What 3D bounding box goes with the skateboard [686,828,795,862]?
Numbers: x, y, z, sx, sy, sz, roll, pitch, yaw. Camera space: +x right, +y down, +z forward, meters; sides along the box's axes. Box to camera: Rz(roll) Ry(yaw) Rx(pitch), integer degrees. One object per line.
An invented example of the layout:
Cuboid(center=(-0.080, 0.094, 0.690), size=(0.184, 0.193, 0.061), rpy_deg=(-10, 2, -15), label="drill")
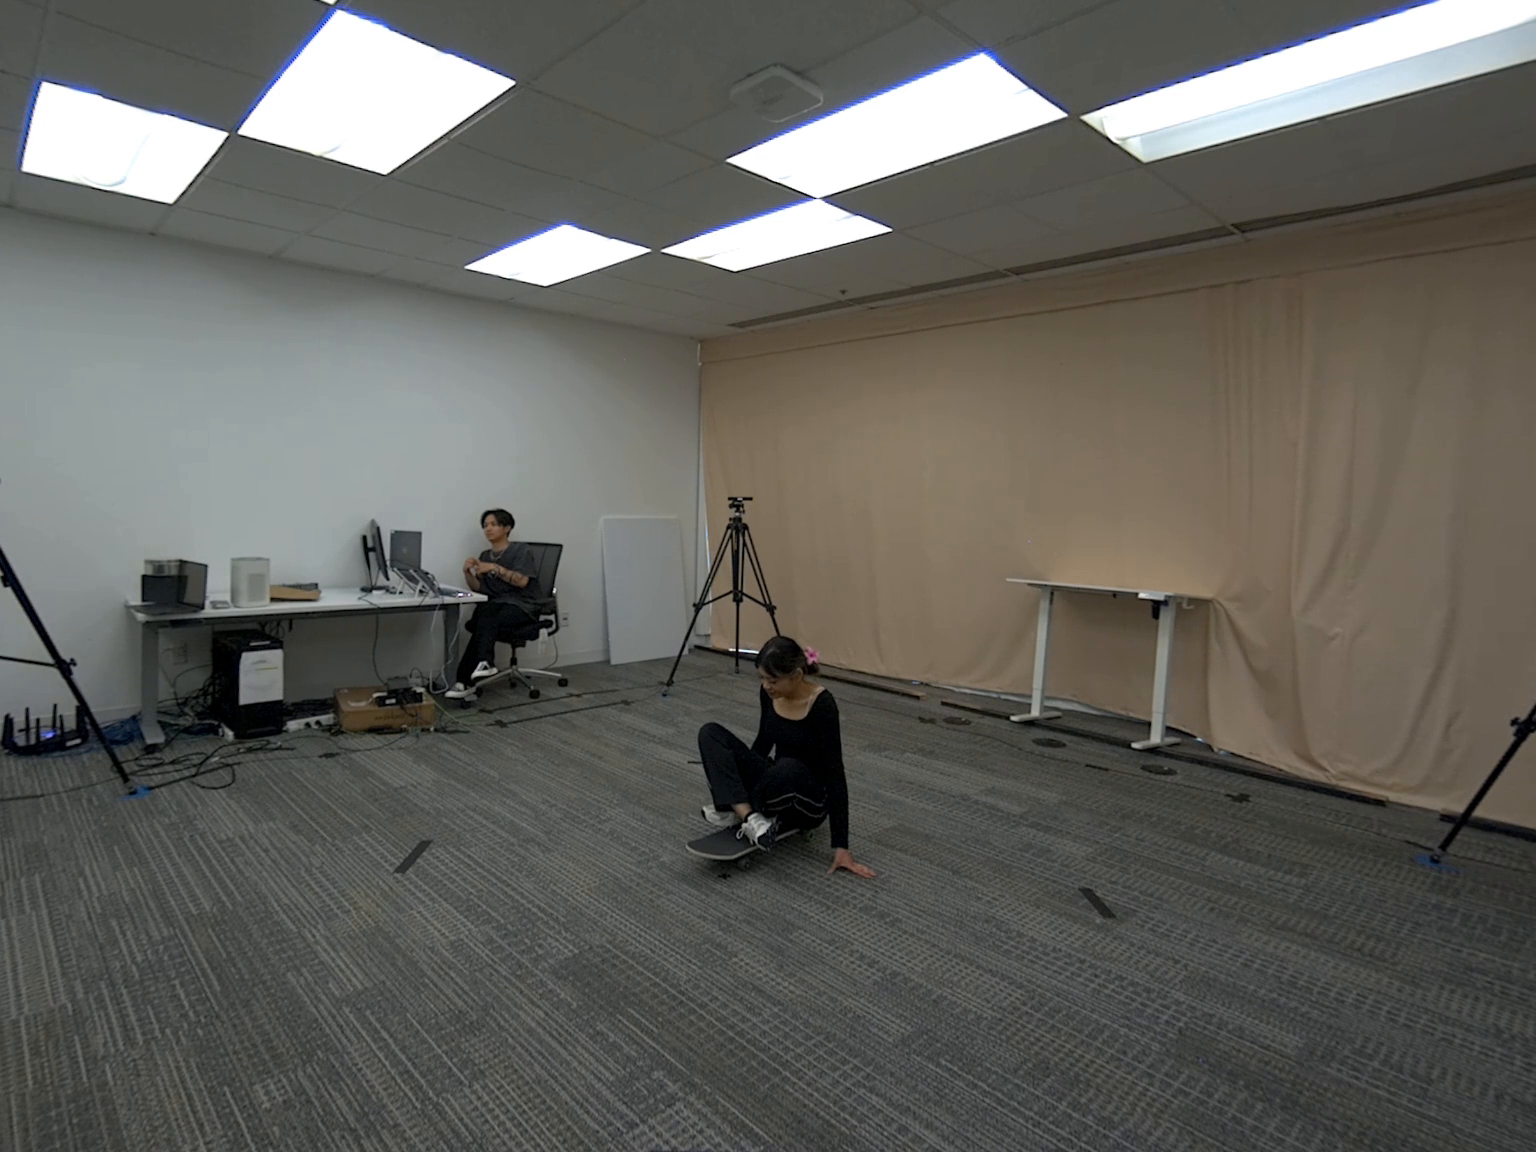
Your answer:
Cuboid(center=(-0.023, 1.028, 3.343), size=(0.198, 0.110, 0.767), rpy_deg=(8, 7, 39), label="skateboard")
